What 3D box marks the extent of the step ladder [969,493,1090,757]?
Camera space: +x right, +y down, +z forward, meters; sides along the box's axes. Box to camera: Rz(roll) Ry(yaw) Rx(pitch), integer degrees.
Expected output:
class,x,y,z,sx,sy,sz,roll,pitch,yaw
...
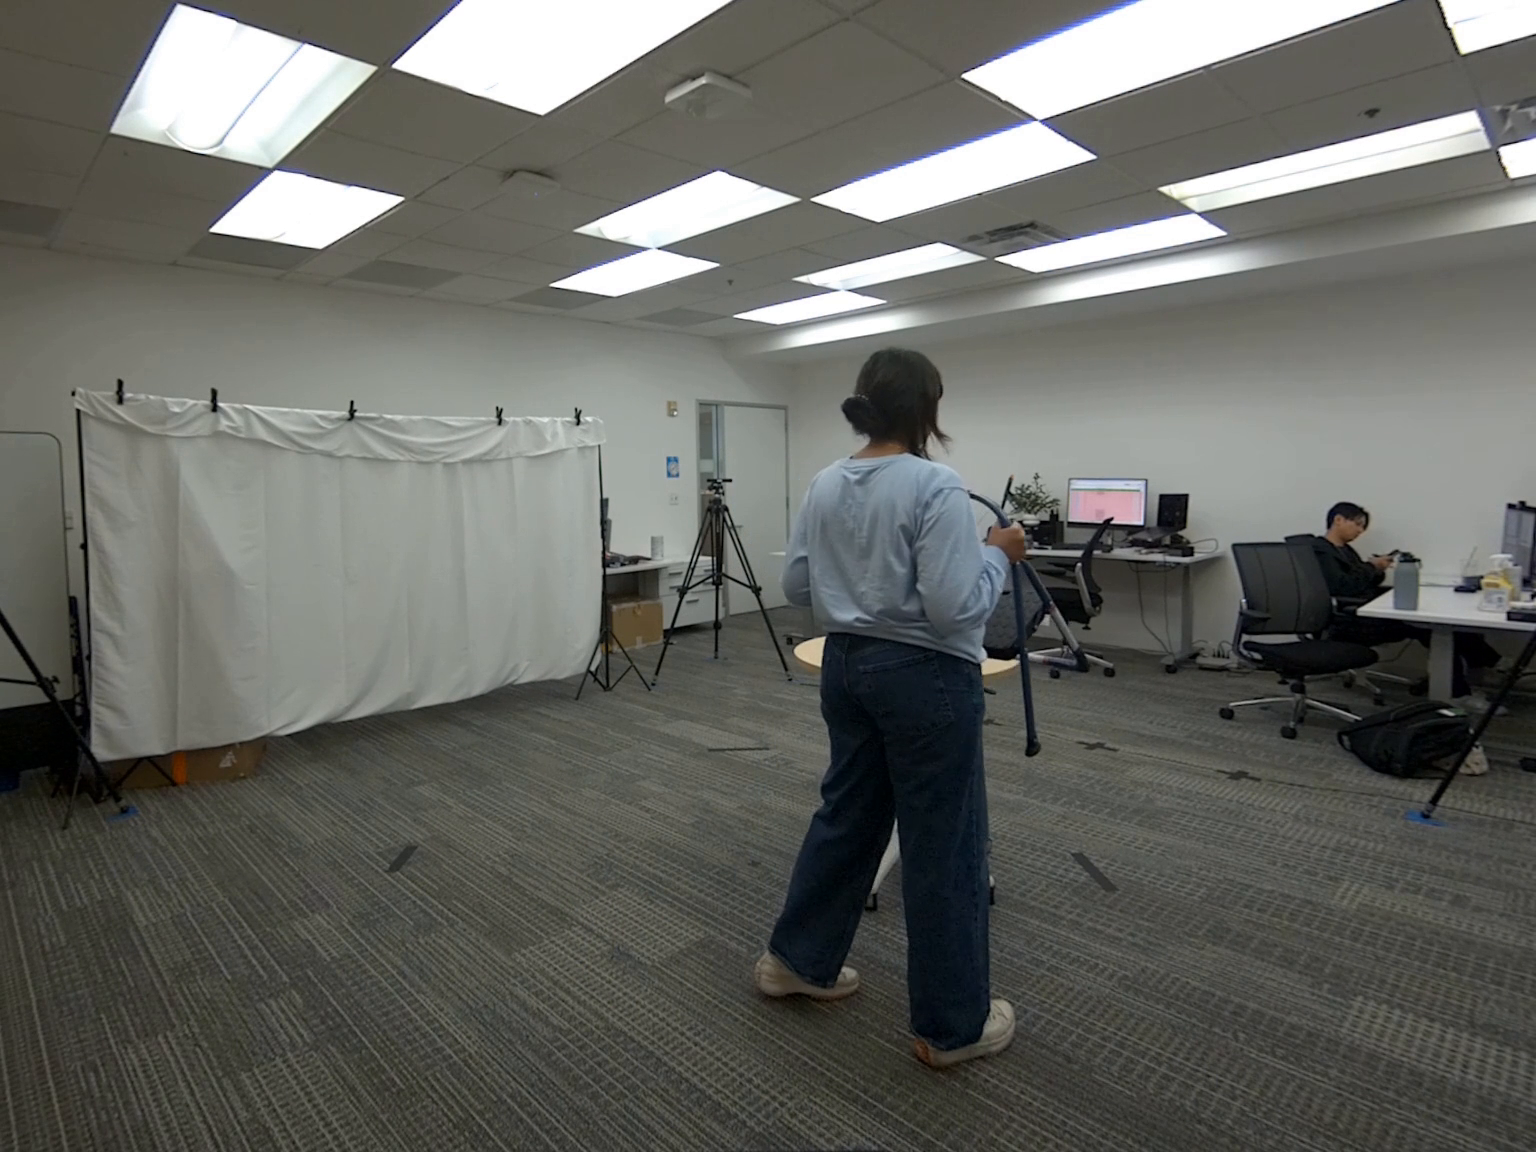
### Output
class,x,y,z,sx,sy,sz,roll,pitch,yaw
step ladder,0.503,0.078,2.236,0.444,0.590,0.348,4,36,48
